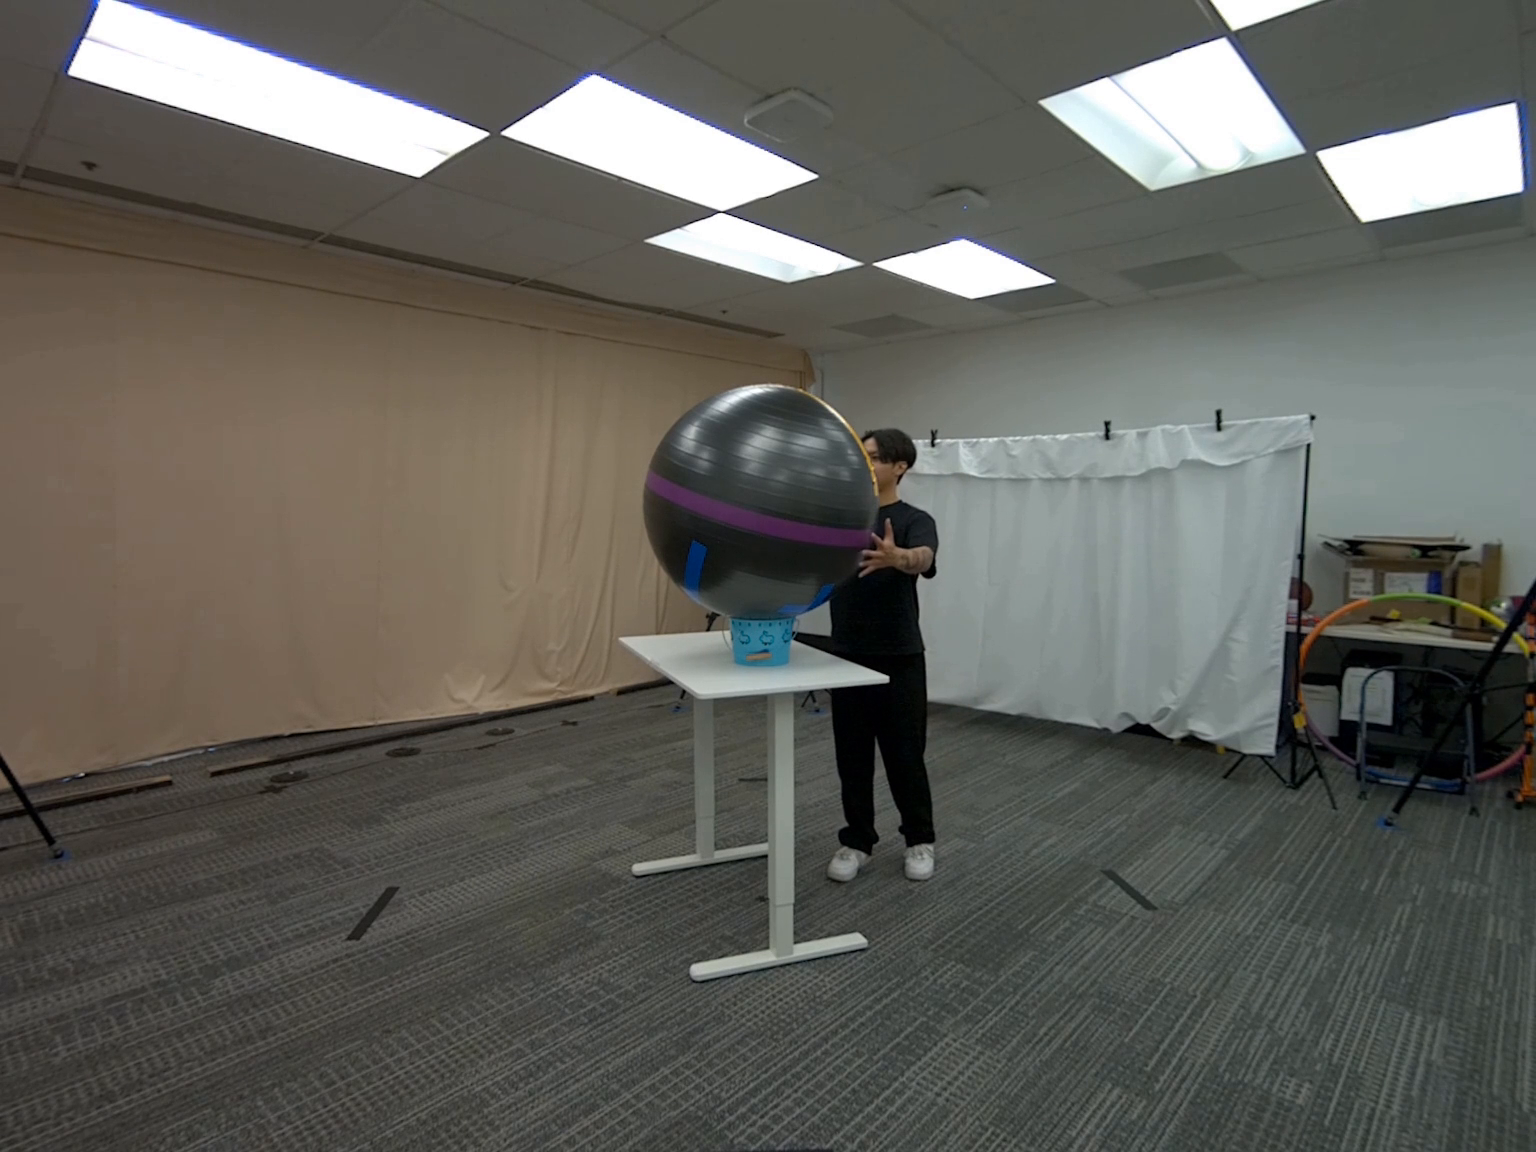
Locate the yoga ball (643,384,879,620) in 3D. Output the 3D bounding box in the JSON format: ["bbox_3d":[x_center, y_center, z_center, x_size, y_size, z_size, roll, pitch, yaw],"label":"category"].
[{"bbox_3d":[-0.021,-0.232,2.737,0.757,0.756,0.760,0,4,-2],"label":"yoga ball"}]
